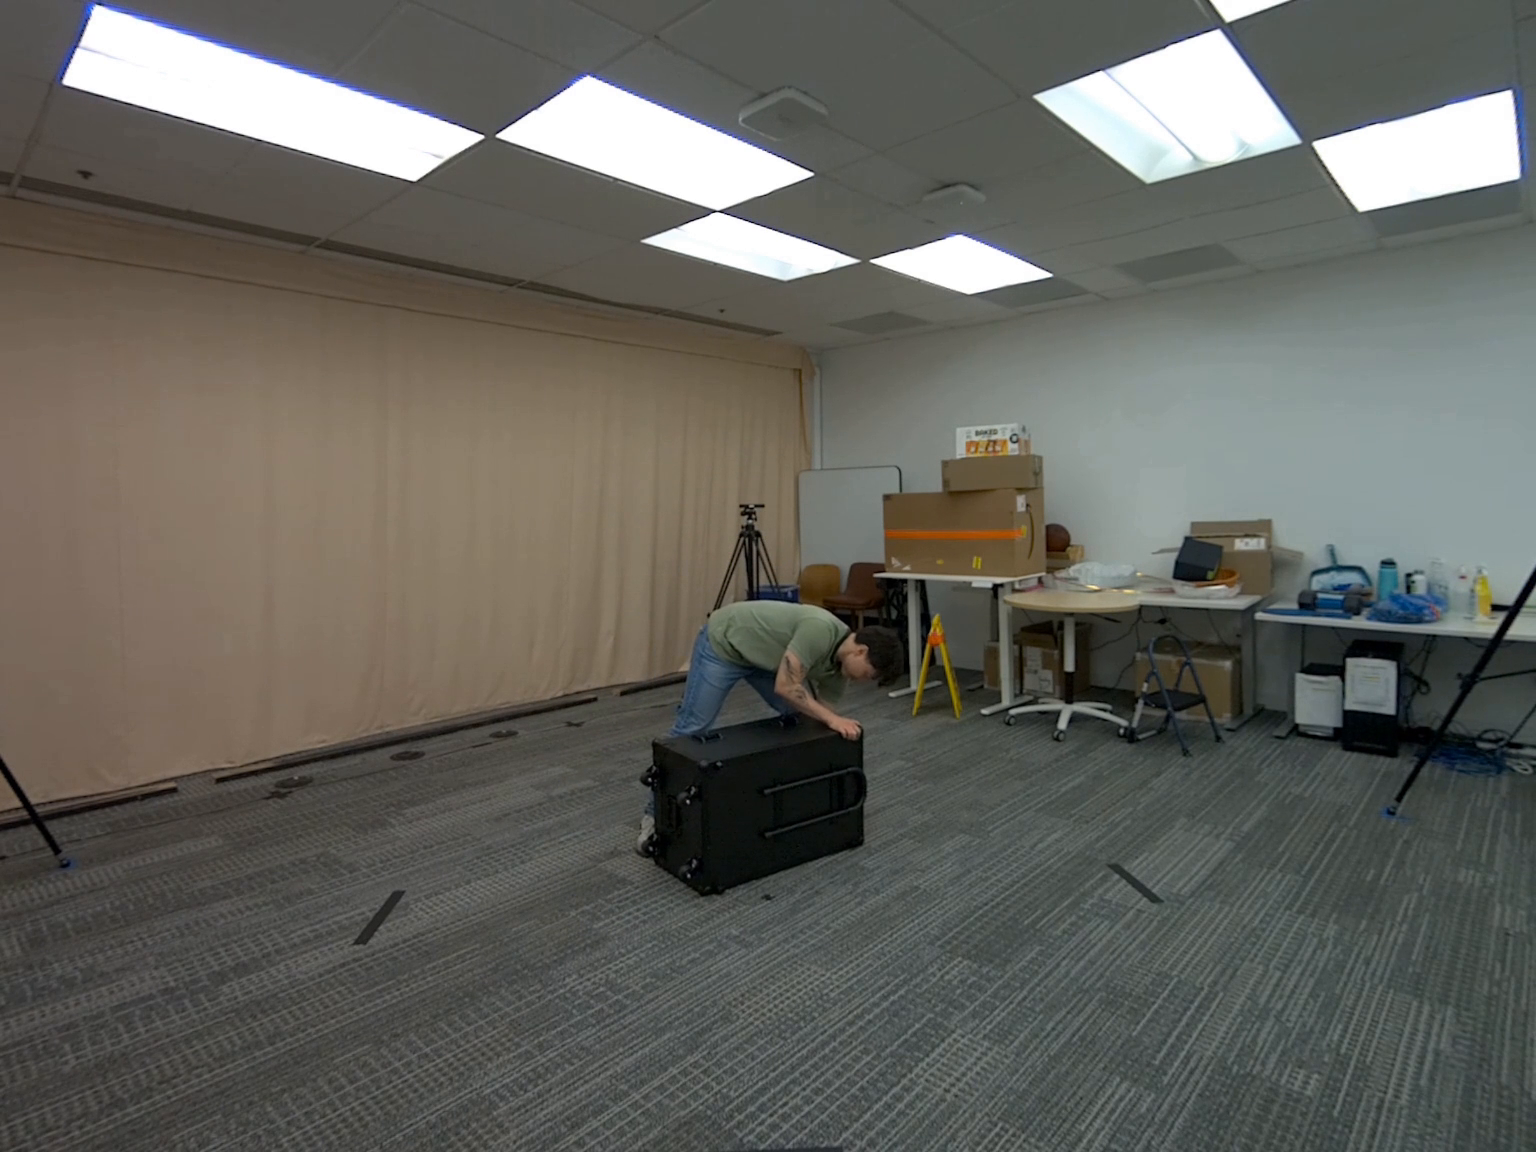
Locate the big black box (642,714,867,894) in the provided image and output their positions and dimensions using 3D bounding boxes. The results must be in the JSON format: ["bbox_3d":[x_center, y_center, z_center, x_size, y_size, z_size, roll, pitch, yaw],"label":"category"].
[{"bbox_3d":[-0.052,0.872,3.303,0.837,0.520,0.409,-4,5,-34],"label":"big black box"}]
